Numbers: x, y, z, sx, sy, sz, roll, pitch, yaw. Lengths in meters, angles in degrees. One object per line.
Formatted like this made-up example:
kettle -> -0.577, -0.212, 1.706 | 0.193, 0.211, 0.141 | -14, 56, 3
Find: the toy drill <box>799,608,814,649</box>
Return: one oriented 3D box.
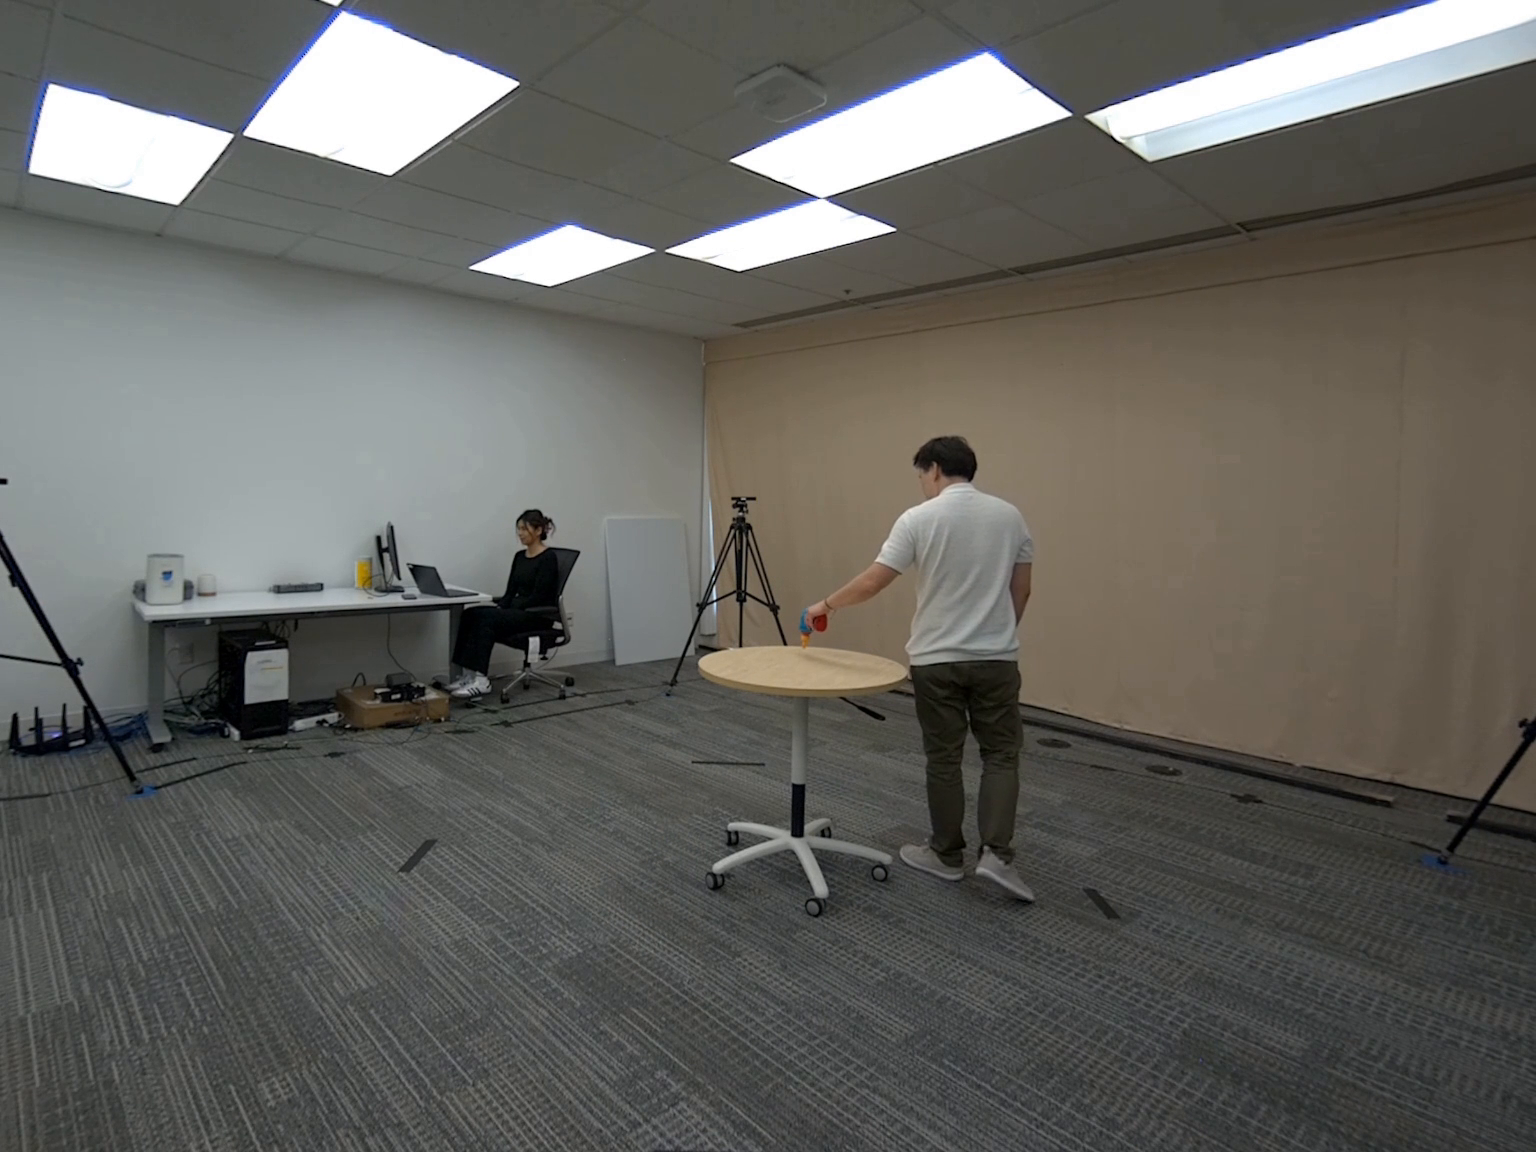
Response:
toy drill -> 0.169, 0.207, 3.277 | 0.060, 0.170, 0.149 | 8, 1, -24
